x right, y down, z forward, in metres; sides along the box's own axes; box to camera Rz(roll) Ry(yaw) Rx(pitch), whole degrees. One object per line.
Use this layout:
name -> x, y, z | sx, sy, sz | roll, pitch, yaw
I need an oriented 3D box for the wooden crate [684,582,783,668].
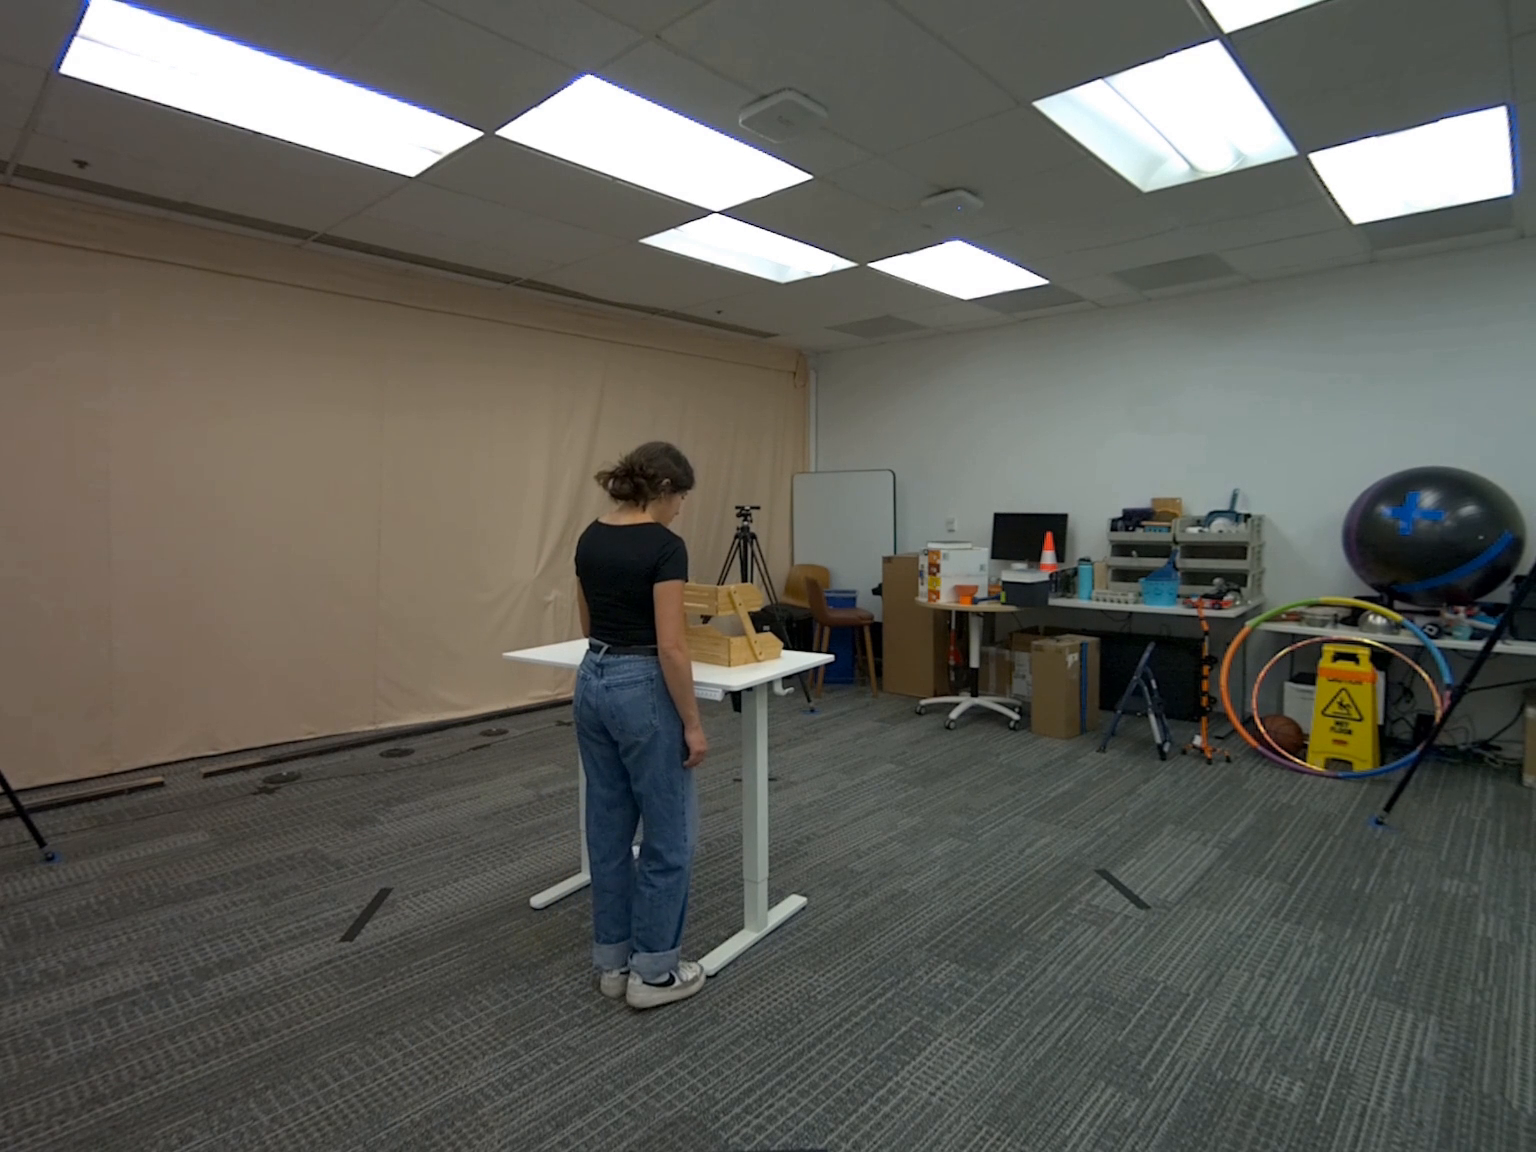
wooden crate -> -0.161, 0.143, 2.819 | 0.335, 0.273, 0.293 | 2, 5, 44
